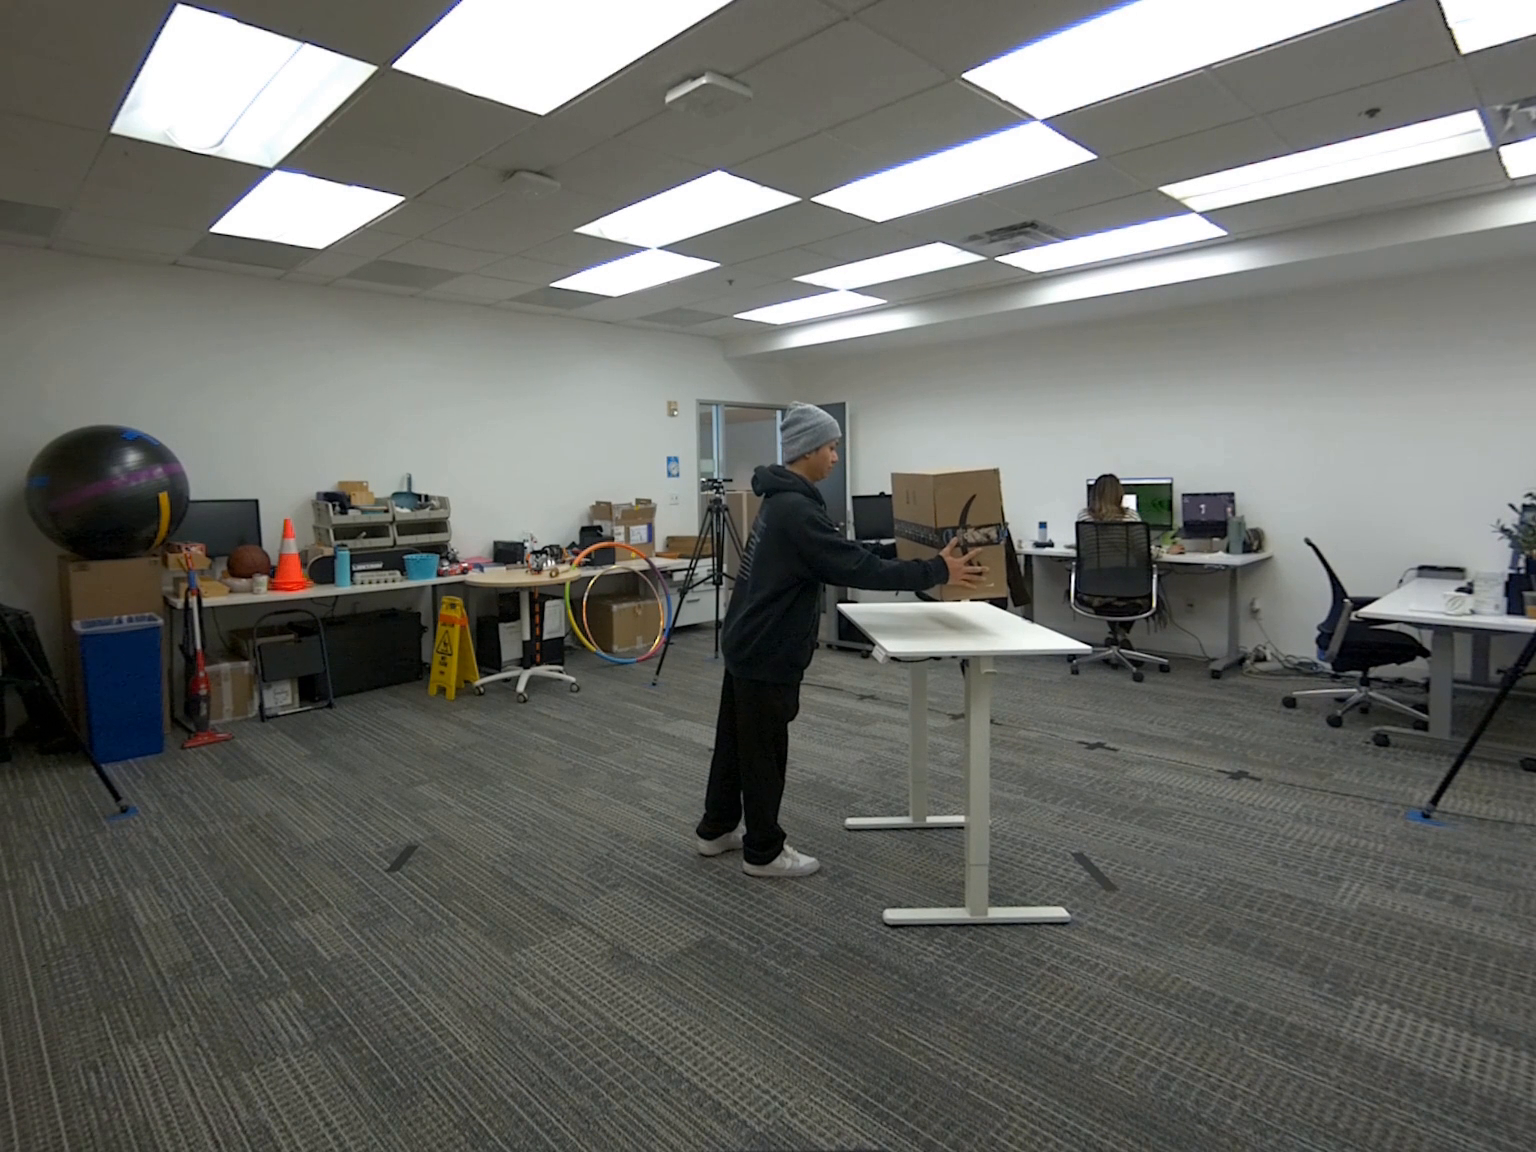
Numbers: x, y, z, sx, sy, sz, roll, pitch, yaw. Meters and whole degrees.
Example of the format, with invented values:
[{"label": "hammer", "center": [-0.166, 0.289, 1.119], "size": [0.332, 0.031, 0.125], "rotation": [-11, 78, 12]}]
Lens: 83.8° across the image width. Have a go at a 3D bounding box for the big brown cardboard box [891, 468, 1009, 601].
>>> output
[{"label": "big brown cardboard box", "center": [0.621, -0.162, 2.991], "size": [0.232, 0.415, 0.594], "rotation": [-5, 7, -5]}]
